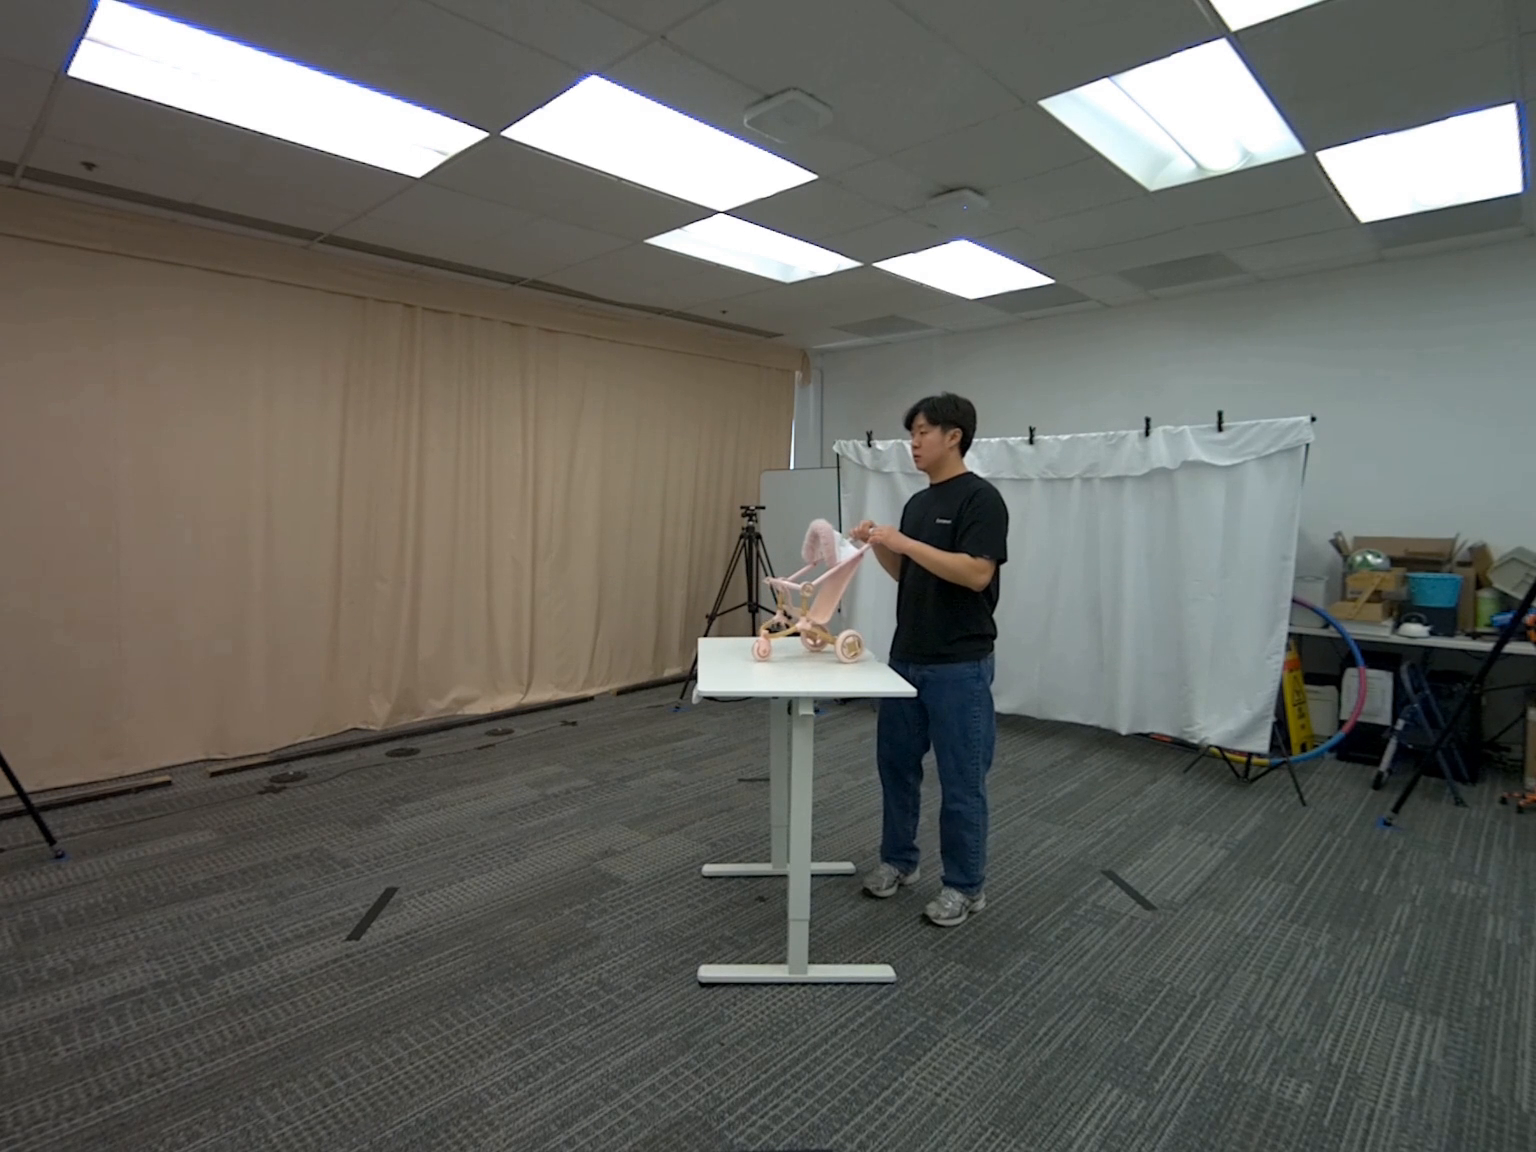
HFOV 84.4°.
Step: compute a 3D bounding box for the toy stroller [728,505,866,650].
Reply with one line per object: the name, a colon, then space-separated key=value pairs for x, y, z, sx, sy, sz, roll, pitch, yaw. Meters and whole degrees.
toy stroller: x=0.160 y=0.053 z=2.806 sx=0.335 sy=0.535 sz=0.287 roll=15 pitch=-1 yaw=-17
